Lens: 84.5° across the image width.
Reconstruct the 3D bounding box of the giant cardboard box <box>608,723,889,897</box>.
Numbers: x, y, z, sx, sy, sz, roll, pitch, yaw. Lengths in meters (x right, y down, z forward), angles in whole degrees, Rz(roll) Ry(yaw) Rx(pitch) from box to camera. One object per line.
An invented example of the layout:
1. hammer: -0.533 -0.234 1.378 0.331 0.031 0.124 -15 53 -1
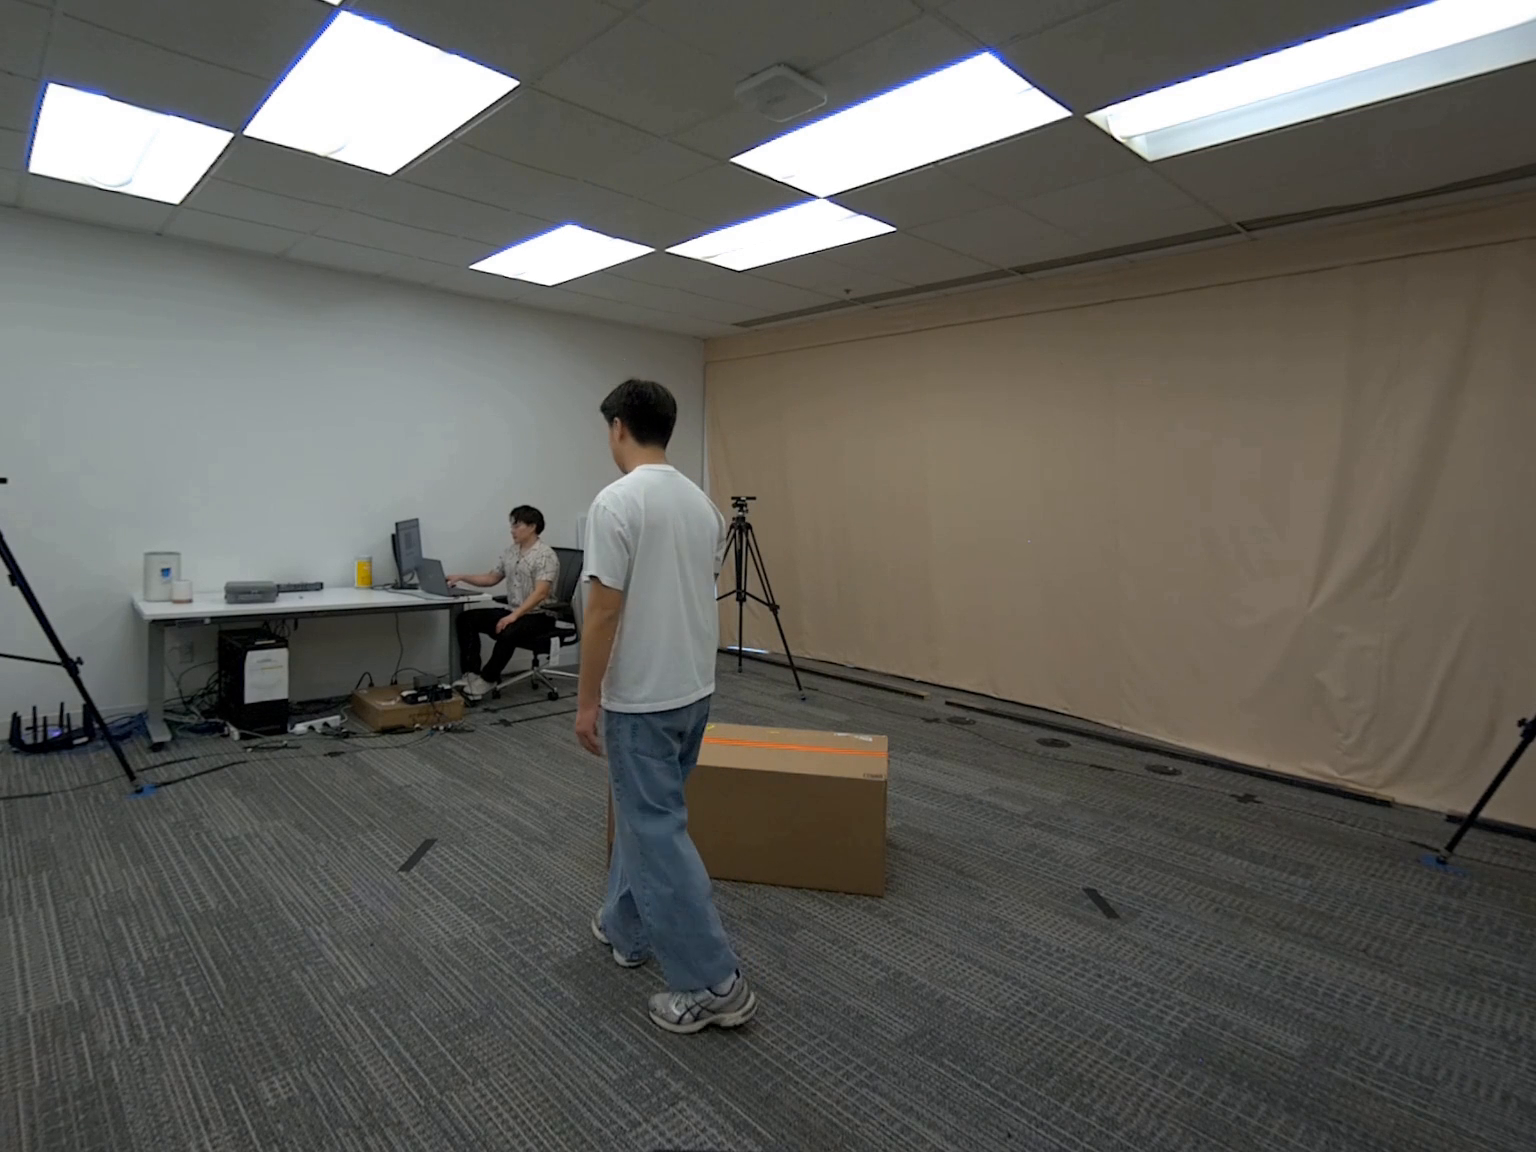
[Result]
1. giant cardboard box: -0.052 0.871 3.316 1.035 0.425 0.574 2 4 10
